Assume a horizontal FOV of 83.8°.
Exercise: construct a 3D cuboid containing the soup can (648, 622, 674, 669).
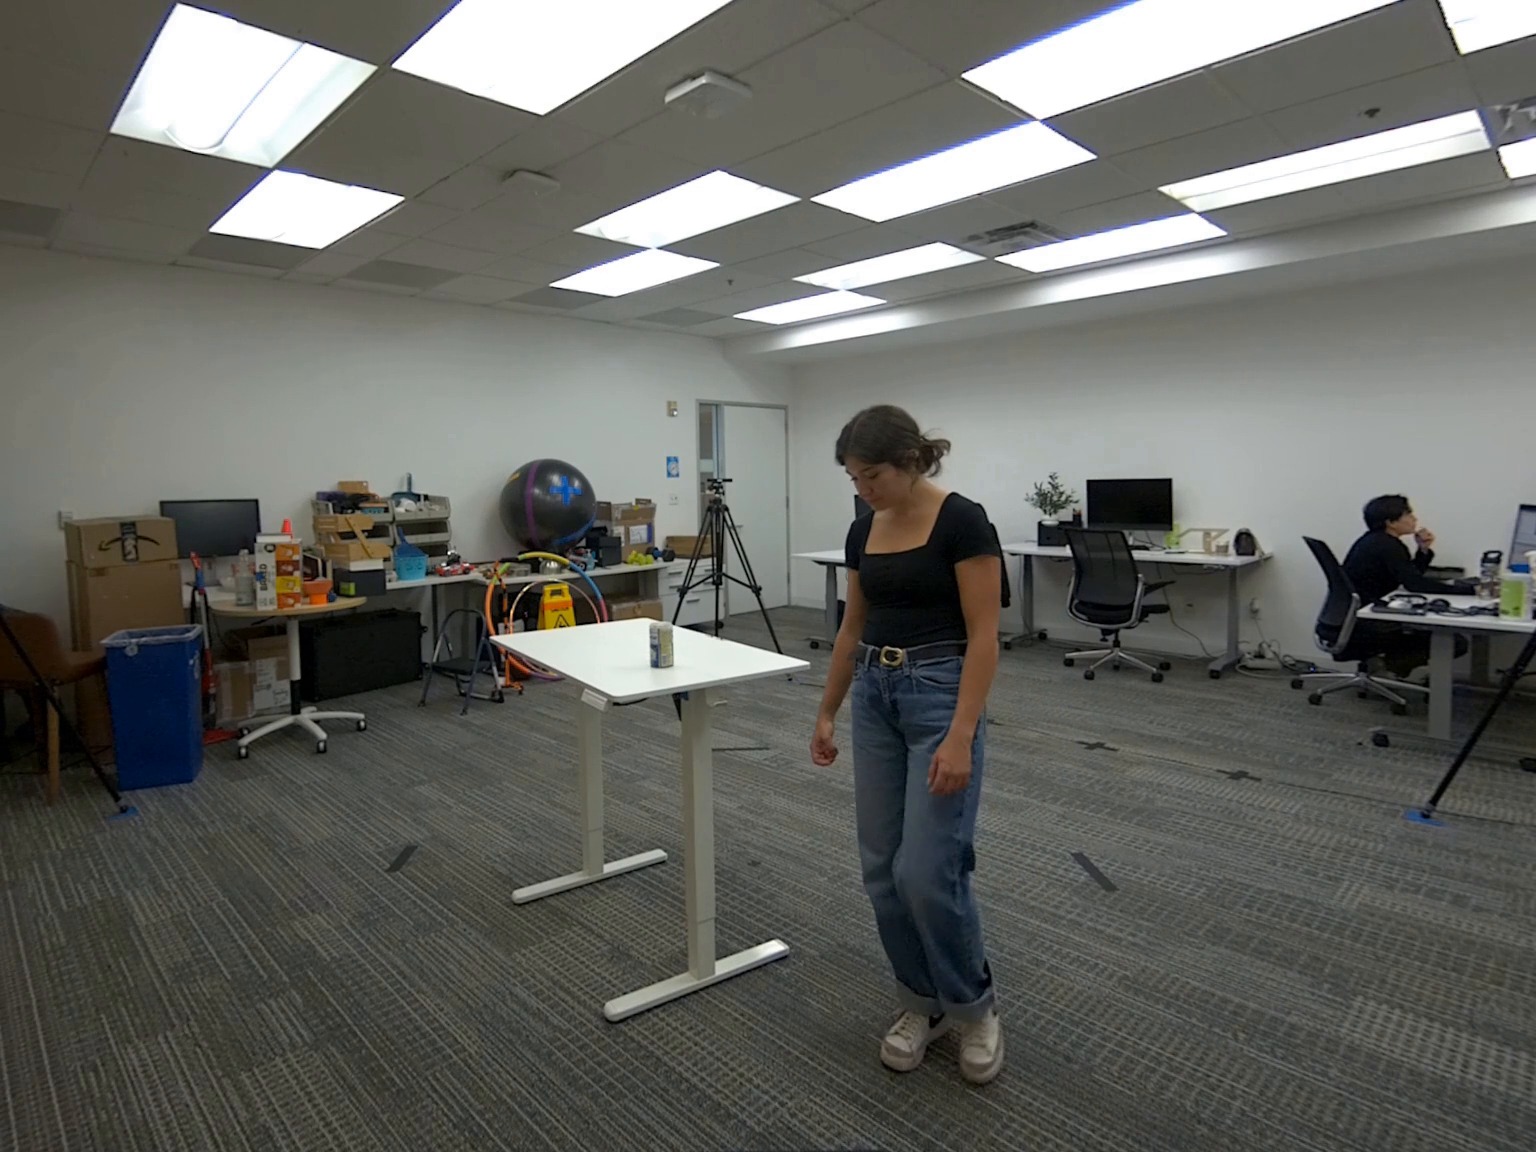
[{"bbox_3d":[-0.296,0.194,2.375,0.067,0.121,0.067,-1,1,-2],"label":"soup can"}]
